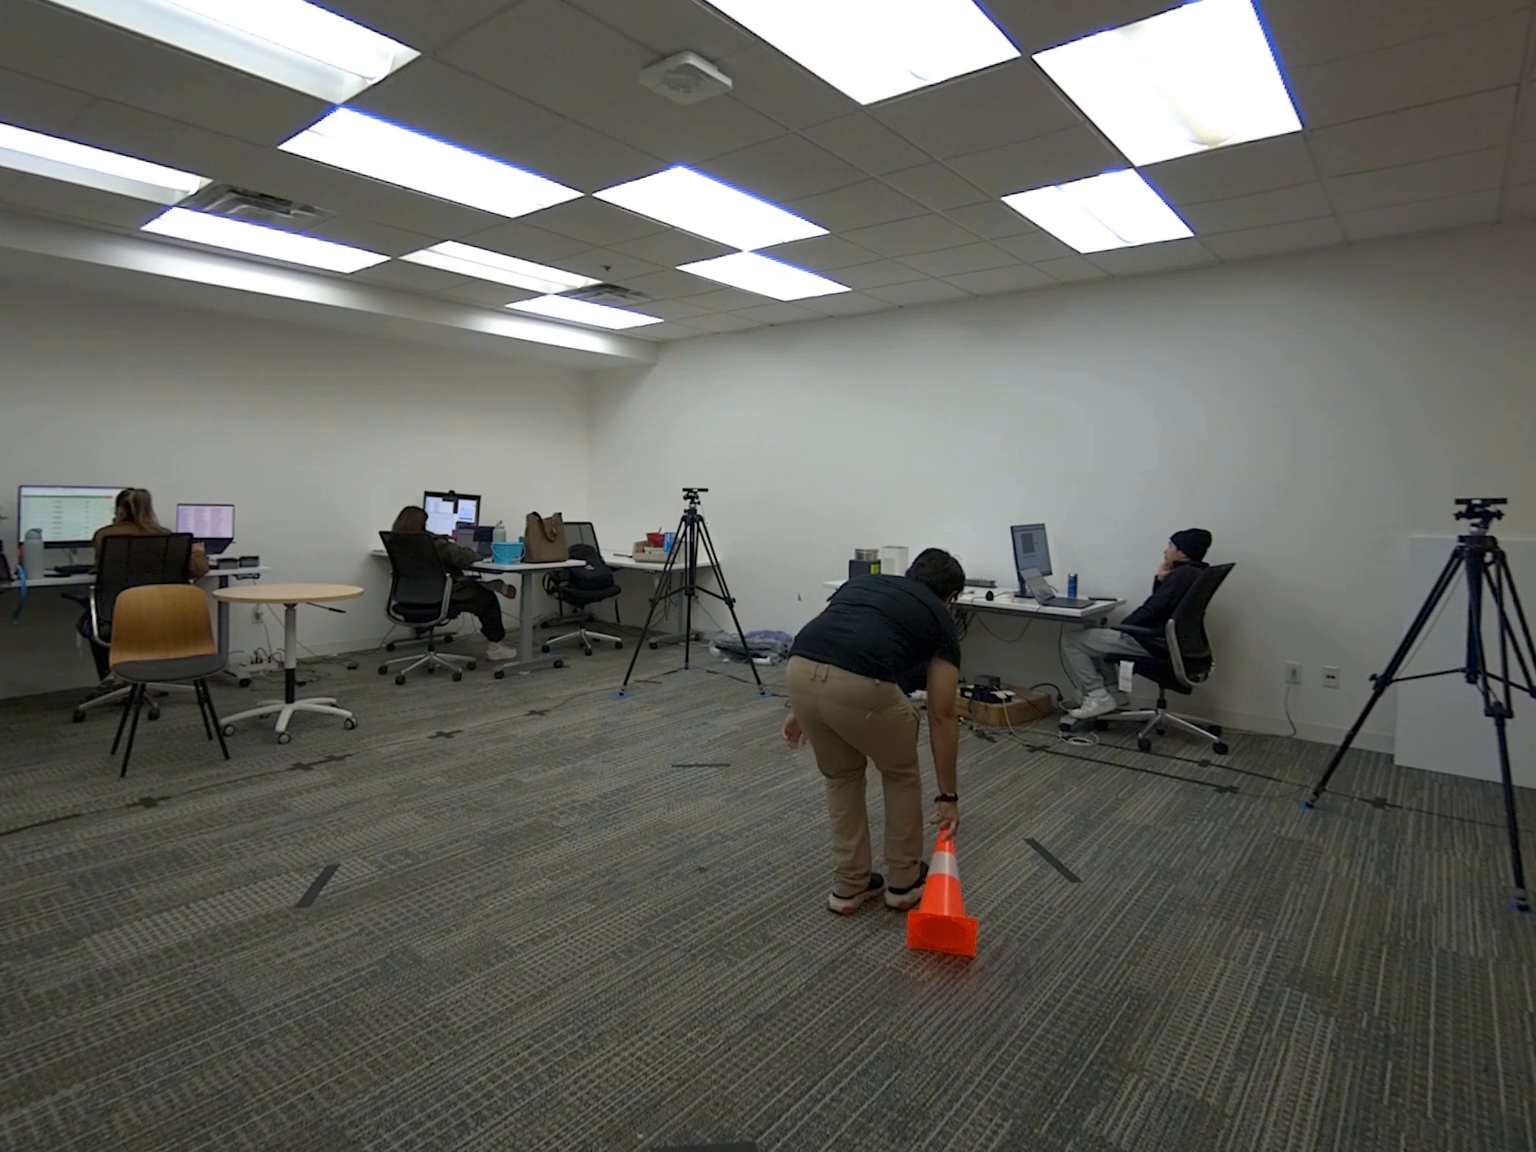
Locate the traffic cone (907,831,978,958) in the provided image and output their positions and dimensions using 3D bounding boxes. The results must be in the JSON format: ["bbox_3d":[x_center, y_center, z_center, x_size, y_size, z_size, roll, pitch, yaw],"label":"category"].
[{"bbox_3d":[0.550,0.942,2.681,0.207,0.198,0.389,-5,36,19],"label":"traffic cone"}]
